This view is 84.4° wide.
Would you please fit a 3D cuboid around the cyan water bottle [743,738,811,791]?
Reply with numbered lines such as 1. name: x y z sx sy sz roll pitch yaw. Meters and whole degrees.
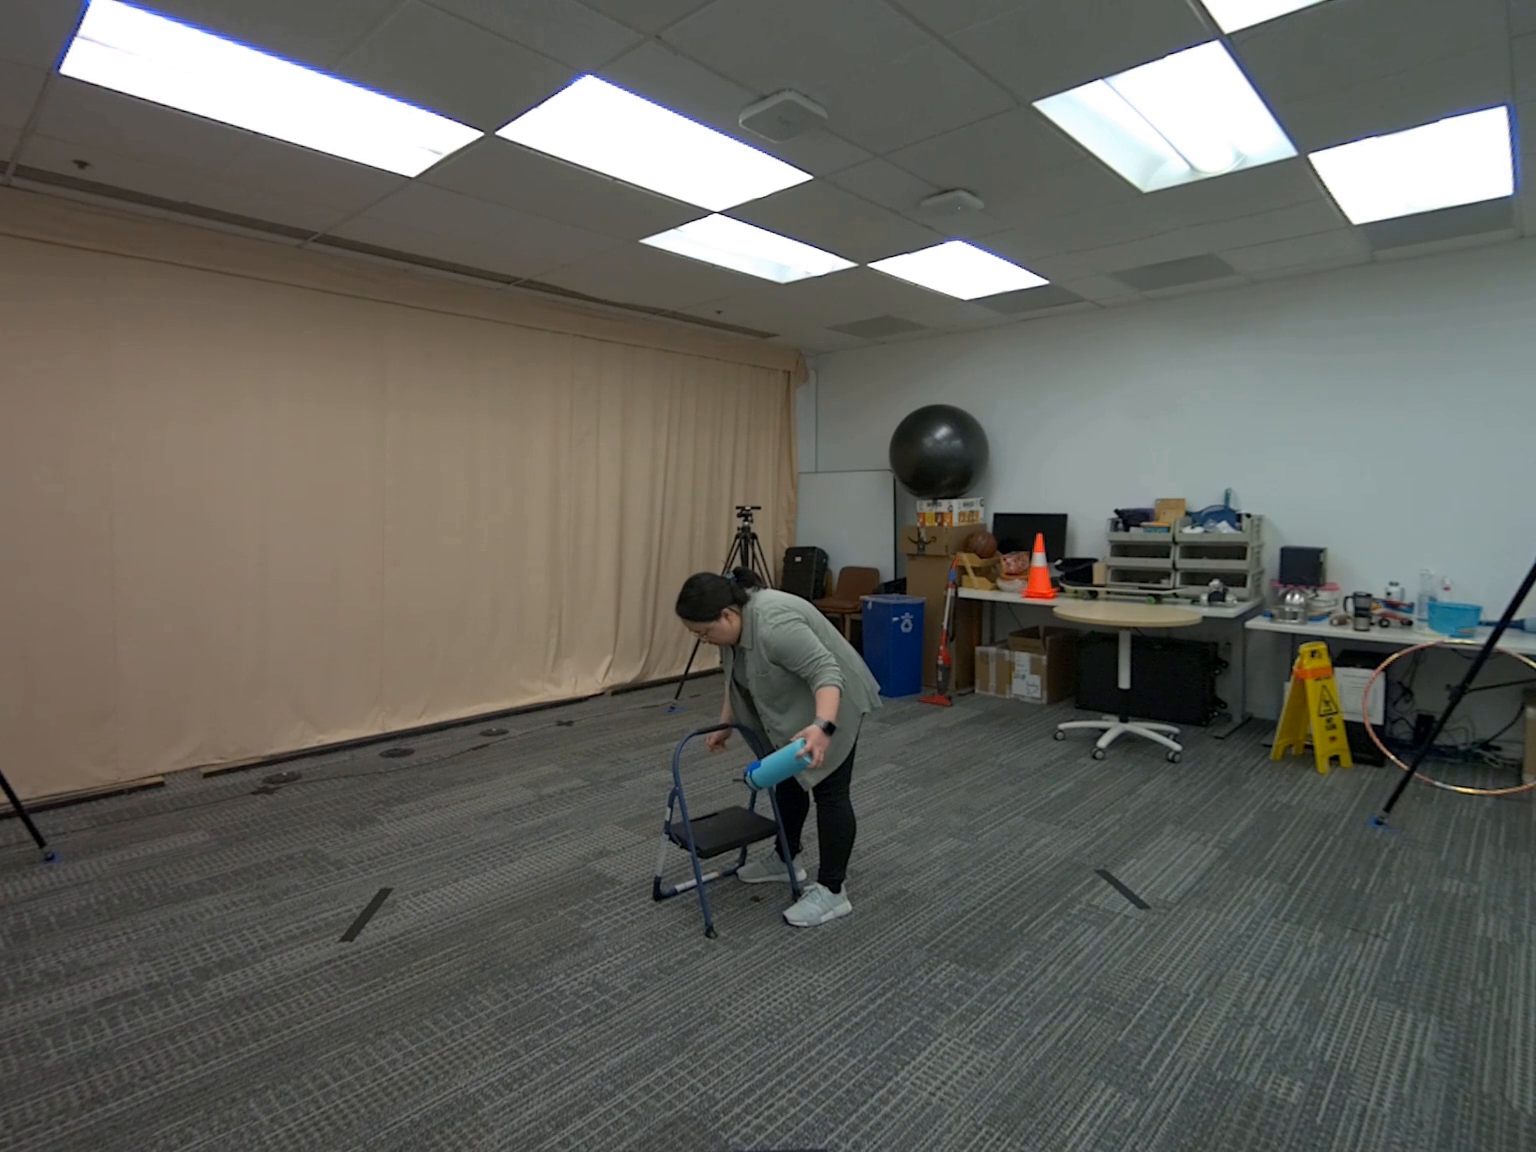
1. cyan water bottle: 0.015 0.613 2.672 0.287 0.094 0.089 -35 -20 37
